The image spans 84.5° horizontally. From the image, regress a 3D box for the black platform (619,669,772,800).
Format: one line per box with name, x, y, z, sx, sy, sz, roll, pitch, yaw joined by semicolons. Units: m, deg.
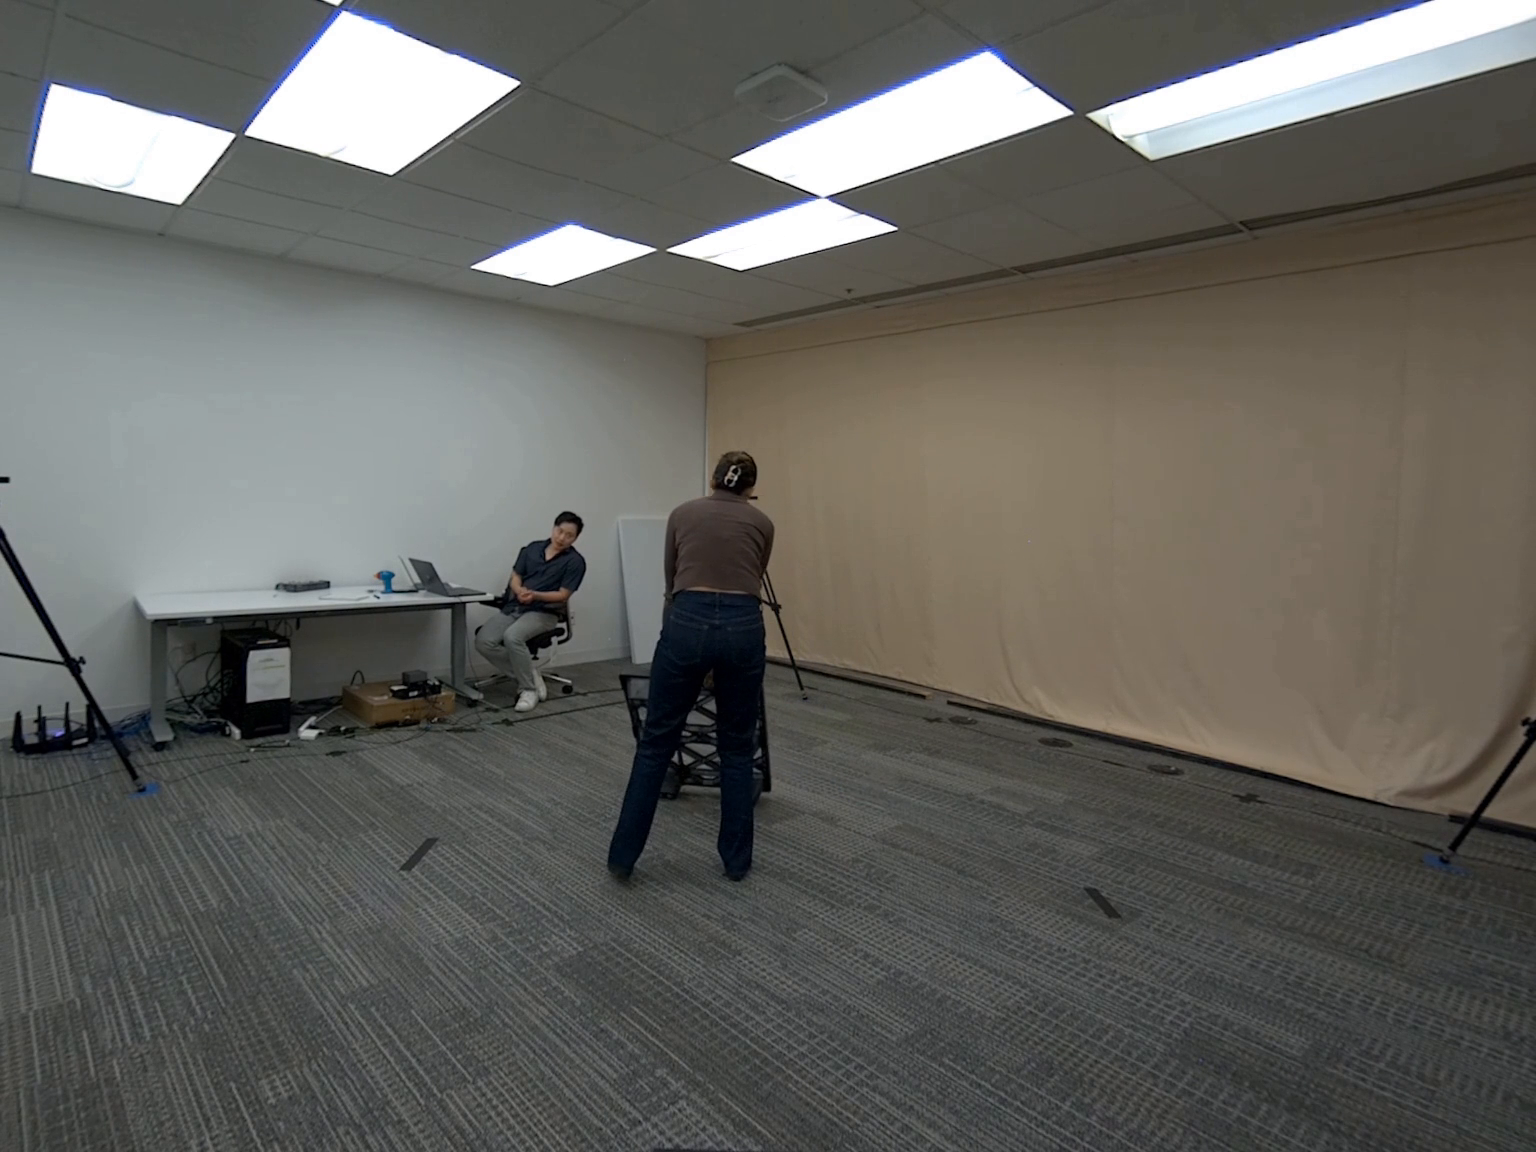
black platform;-0.321;0.723;3.661;0.610;0.786;0.146;2;42;9
